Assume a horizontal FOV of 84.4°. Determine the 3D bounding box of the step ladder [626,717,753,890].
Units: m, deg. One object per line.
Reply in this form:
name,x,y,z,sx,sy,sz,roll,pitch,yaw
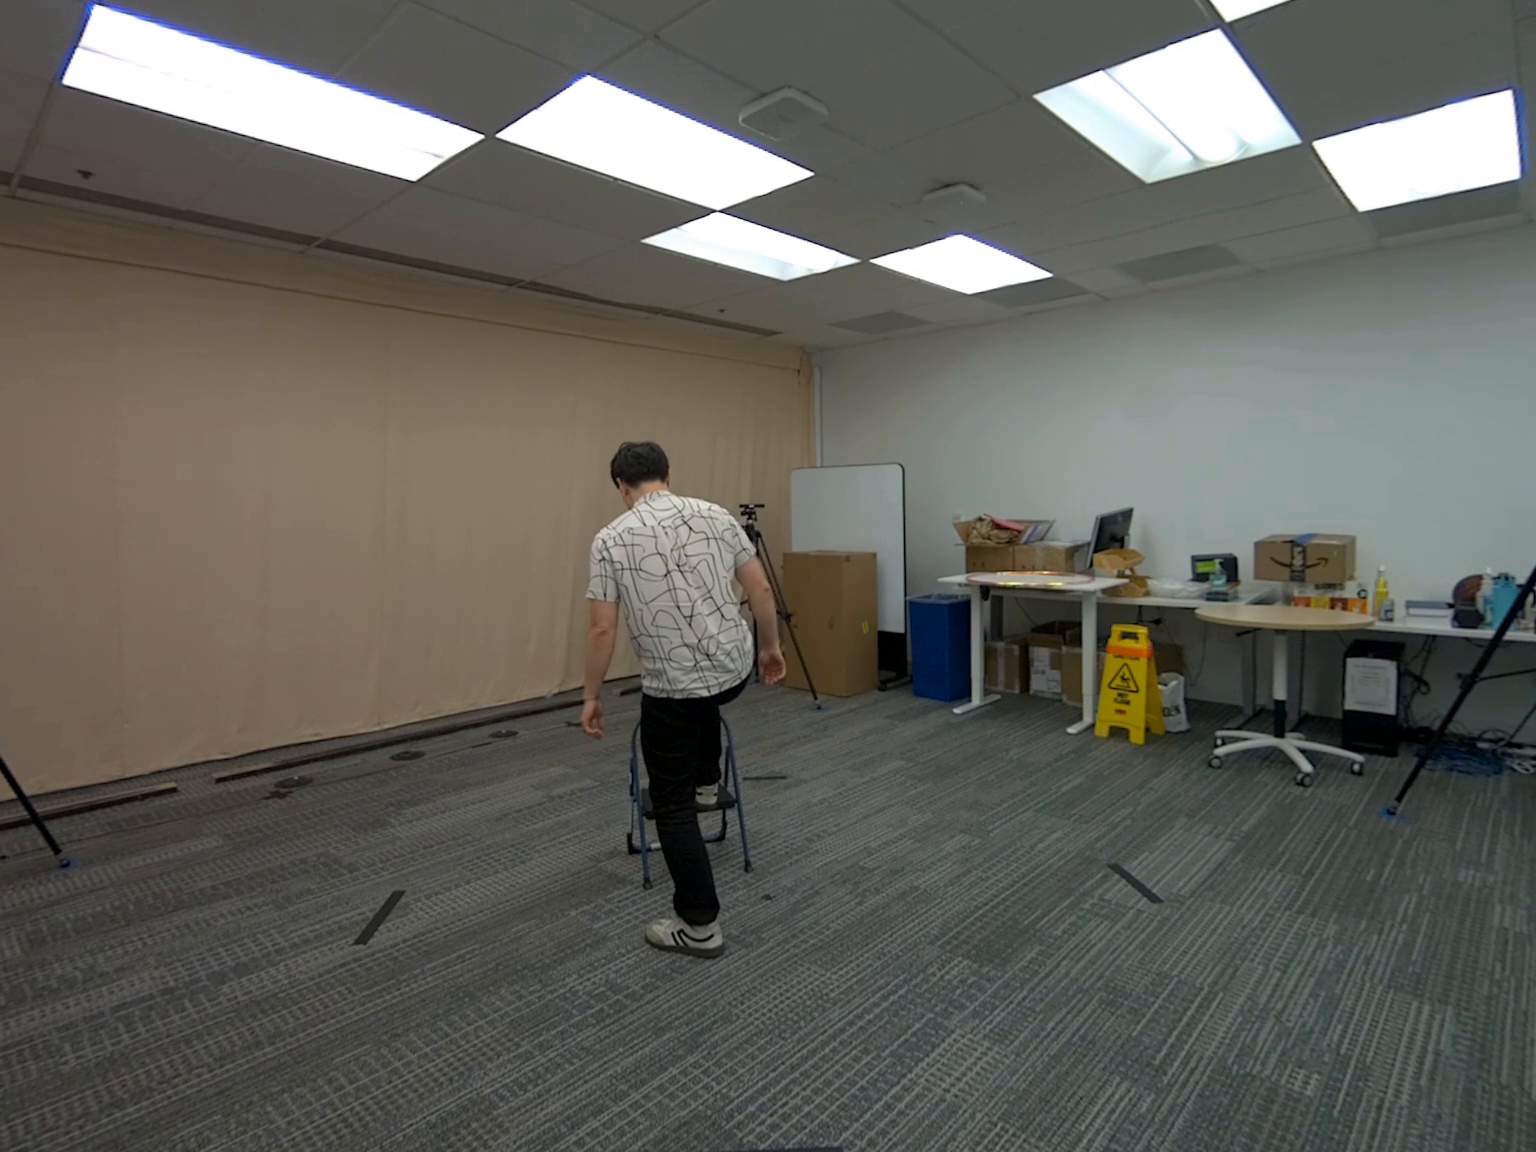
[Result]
step ladder,-0.320,0.816,3.282,0.422,0.605,0.357,-2,3,-20
